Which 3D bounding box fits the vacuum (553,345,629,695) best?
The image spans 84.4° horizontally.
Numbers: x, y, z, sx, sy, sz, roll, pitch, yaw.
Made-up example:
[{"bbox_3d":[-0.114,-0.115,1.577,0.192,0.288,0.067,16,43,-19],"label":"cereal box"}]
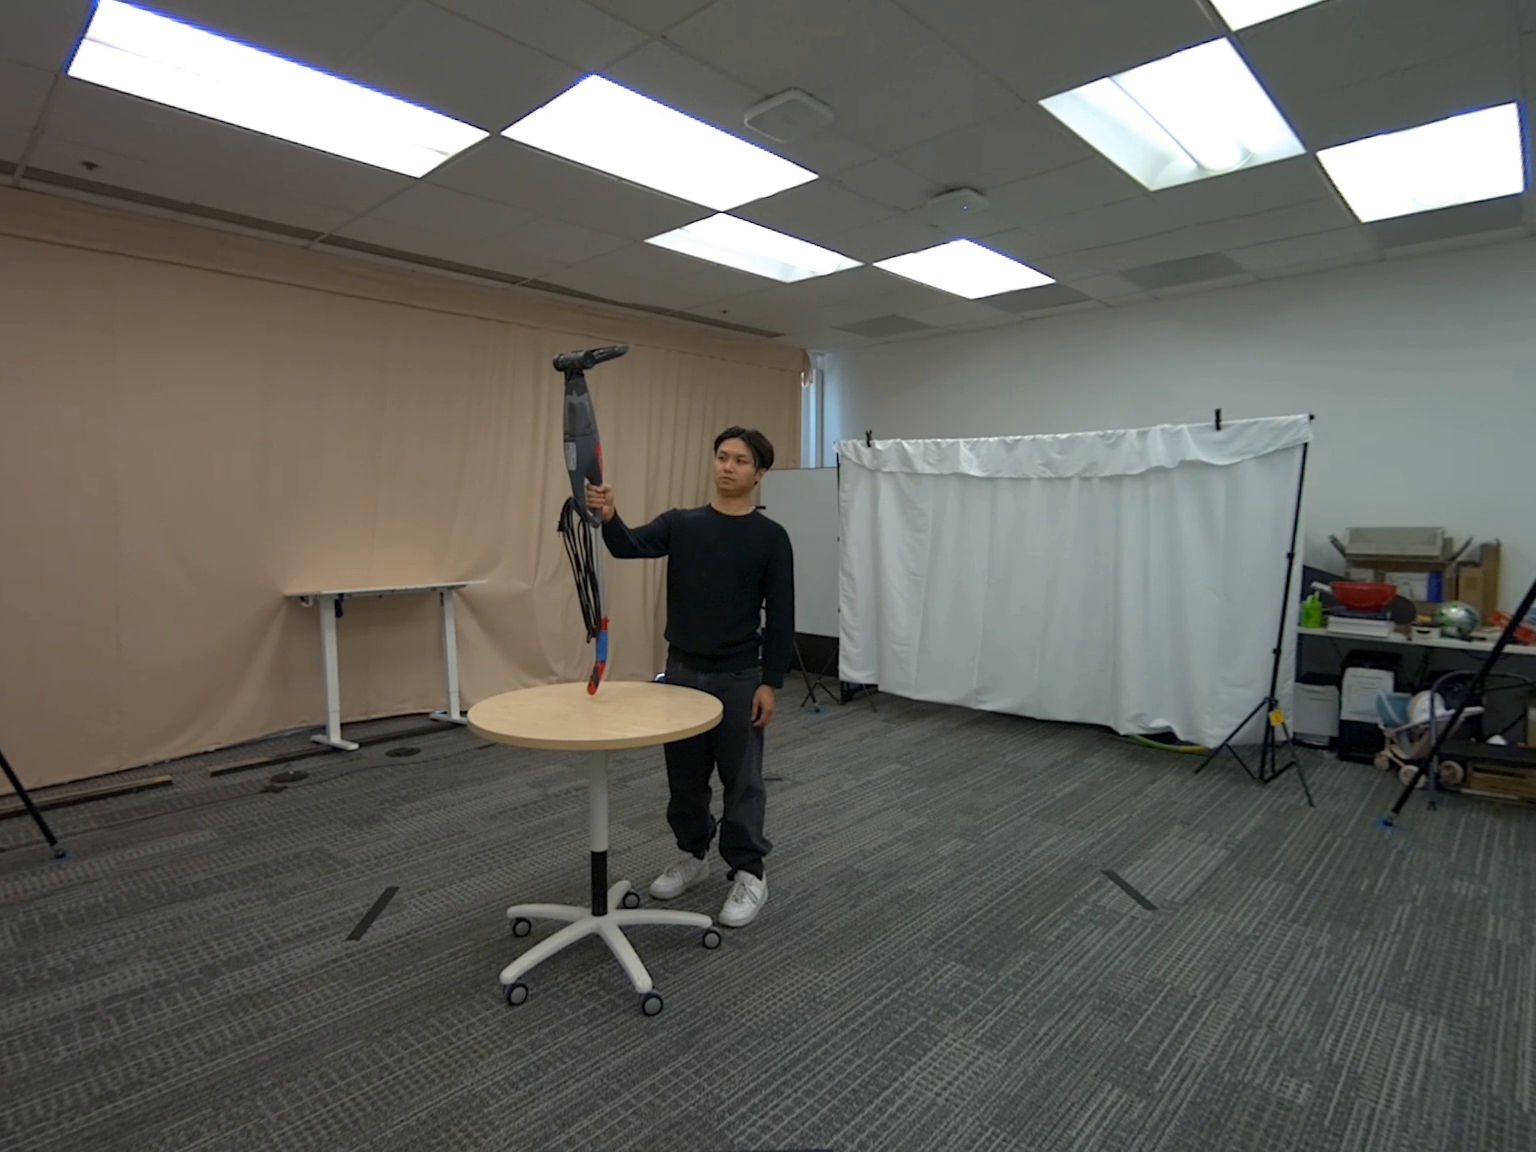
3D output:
[{"bbox_3d":[-0.558,-0.155,2.570,0.261,1.046,0.140,6,7,39],"label":"vacuum"}]
